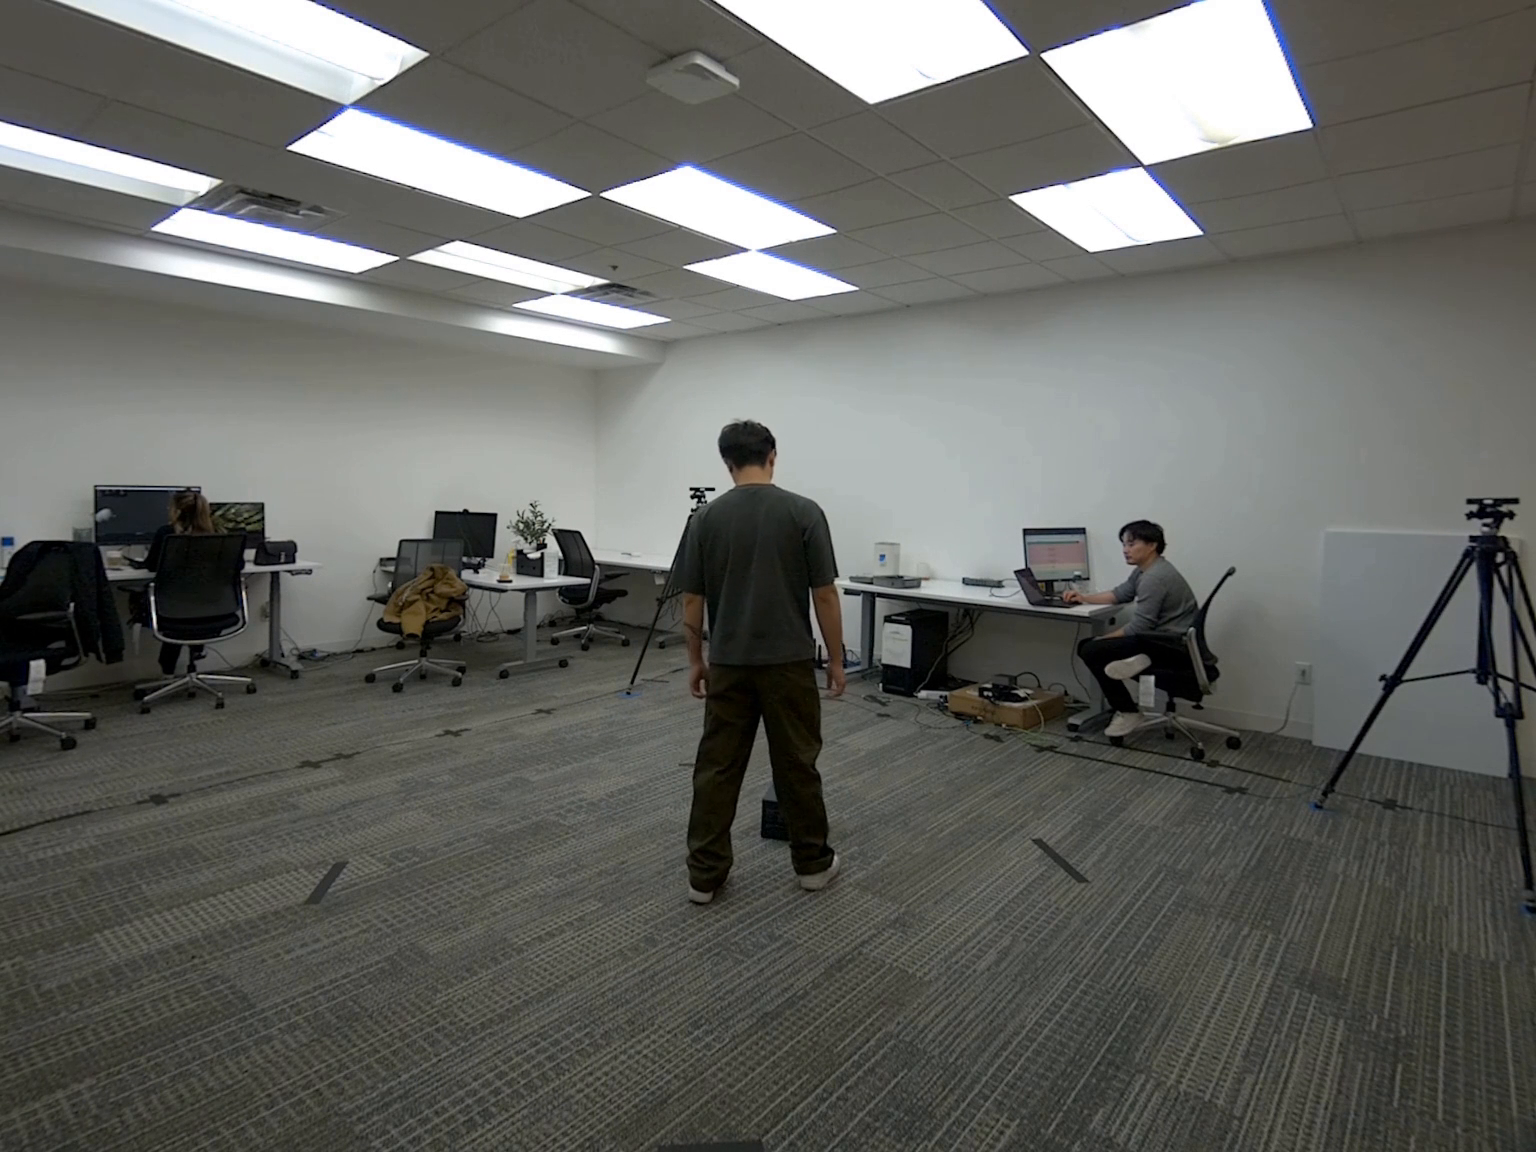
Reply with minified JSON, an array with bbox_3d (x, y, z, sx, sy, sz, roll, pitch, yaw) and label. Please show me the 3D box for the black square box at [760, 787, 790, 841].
[{"bbox_3d":[0.091,0.948,3.470,0.220,0.155,0.225,2,5,12],"label":"black square box"}]
